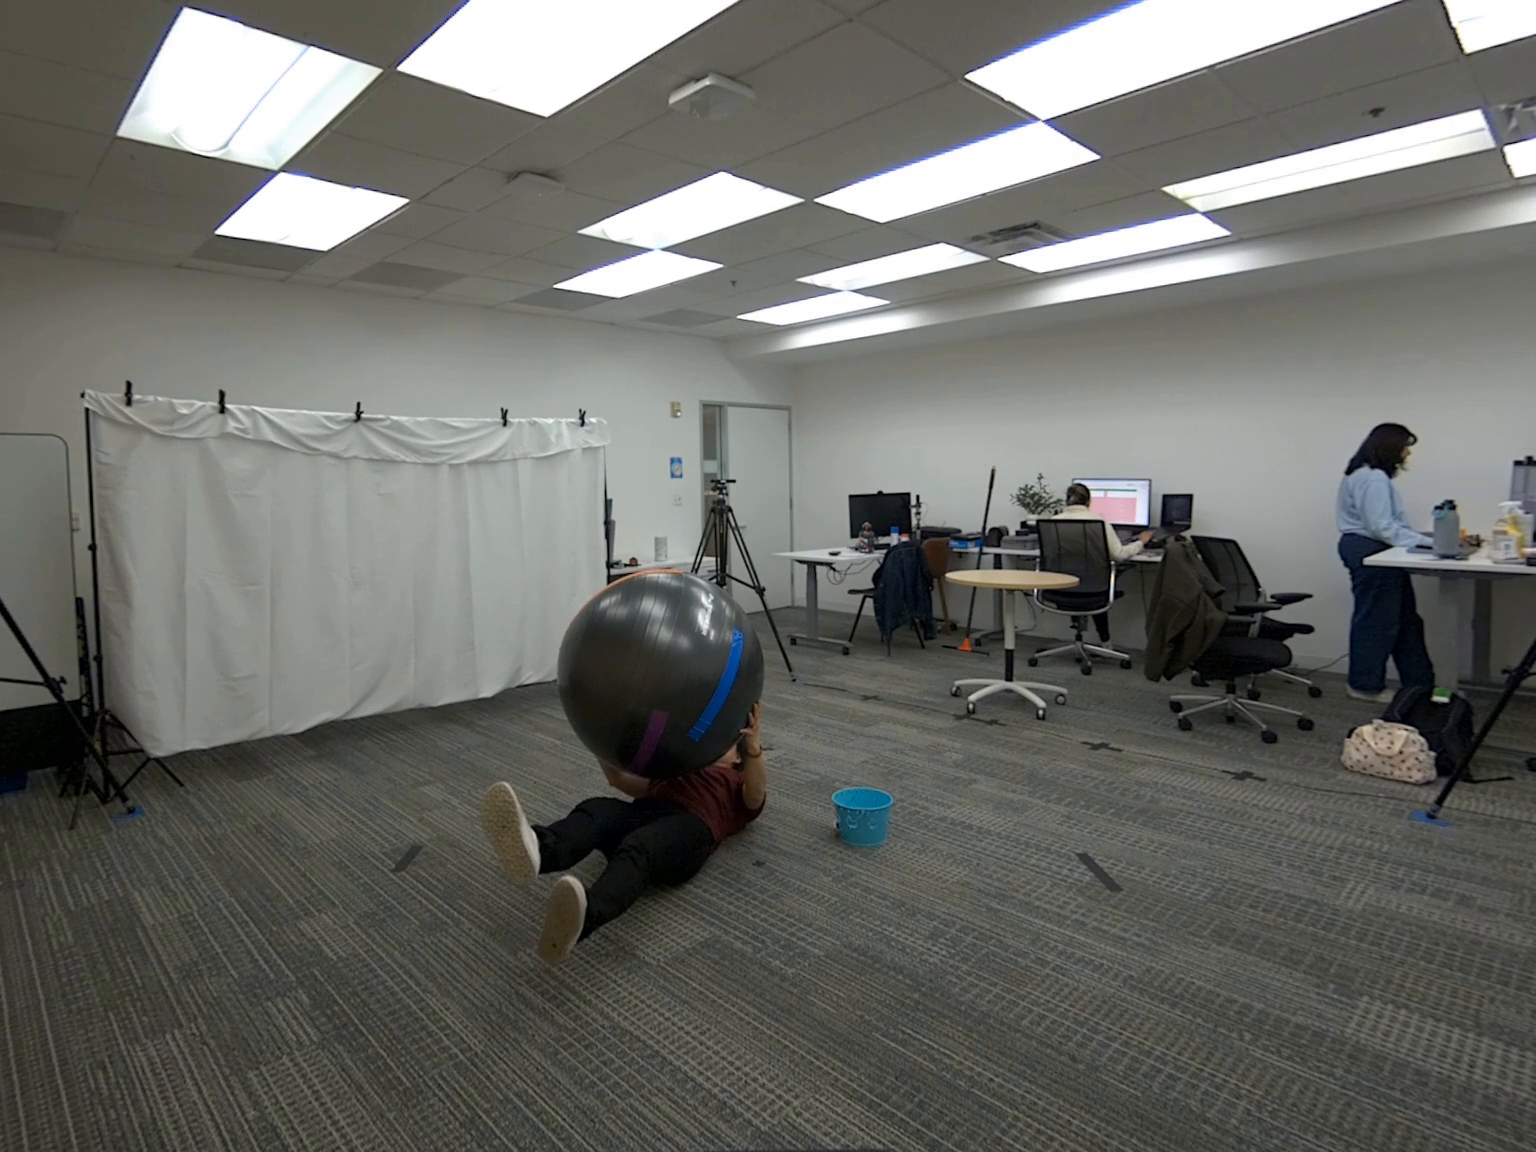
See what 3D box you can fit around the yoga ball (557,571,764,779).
[{"bbox_3d":[-0.398,0.357,3.164,0.757,0.755,0.762,-1,5,-2],"label":"yoga ball"}]
